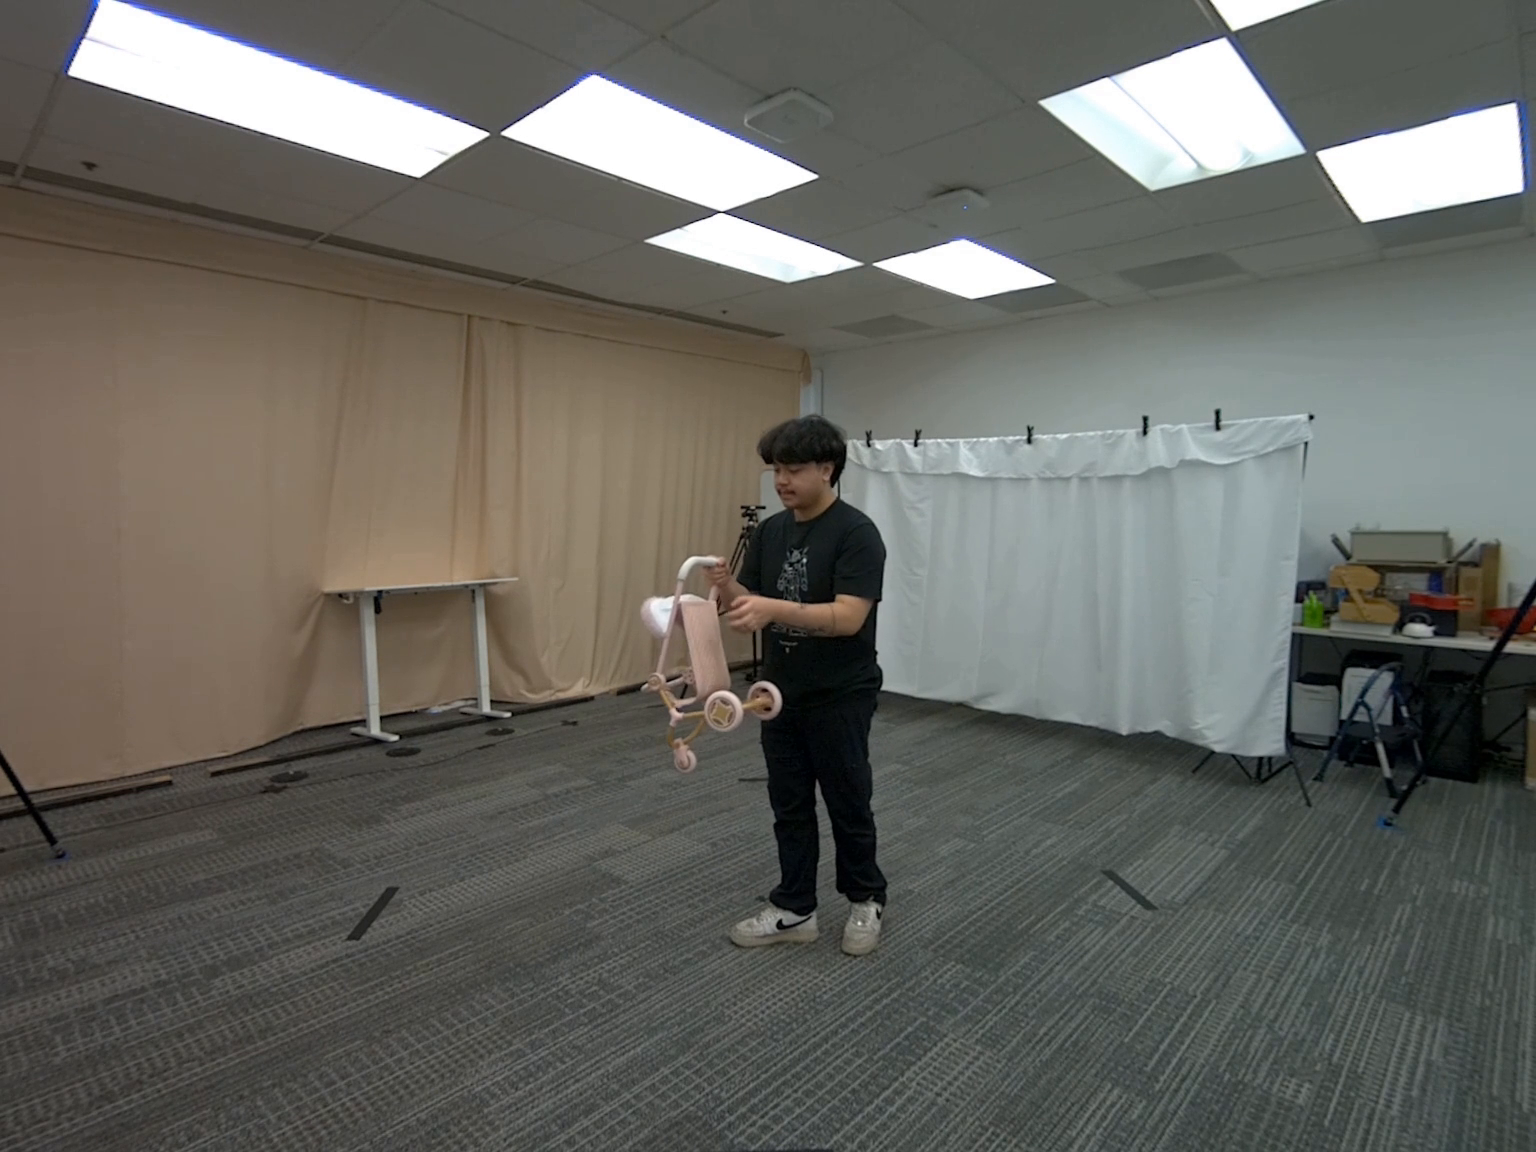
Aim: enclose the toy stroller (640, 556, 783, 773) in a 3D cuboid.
[{"bbox_3d":[-0.205,0.260,2.397,0.347,0.542,0.273,-29,-14,29],"label":"toy stroller"}]
